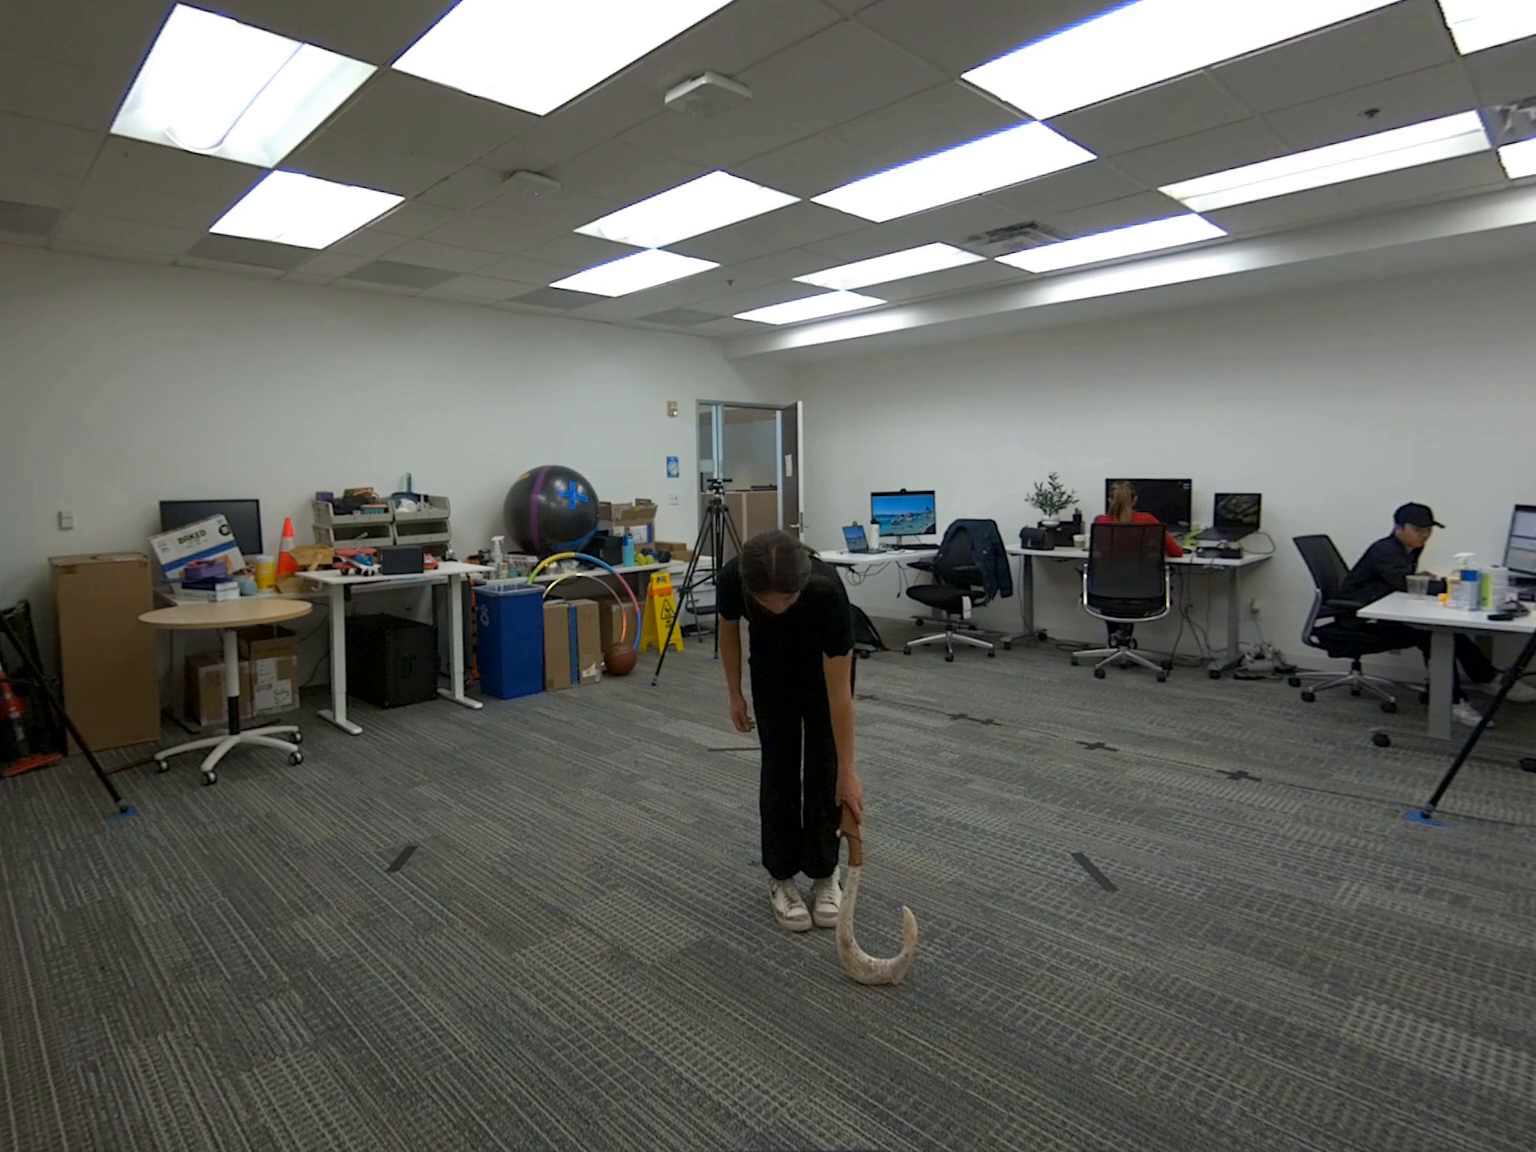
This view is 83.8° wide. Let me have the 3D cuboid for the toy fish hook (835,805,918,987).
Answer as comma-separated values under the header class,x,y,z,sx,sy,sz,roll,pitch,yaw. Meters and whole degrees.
class,x,y,z,sx,sy,sz,roll,pitch,yaw
toy fish hook,0.306,0.891,2.436,0.225,0.516,0.047,-4,-19,3
